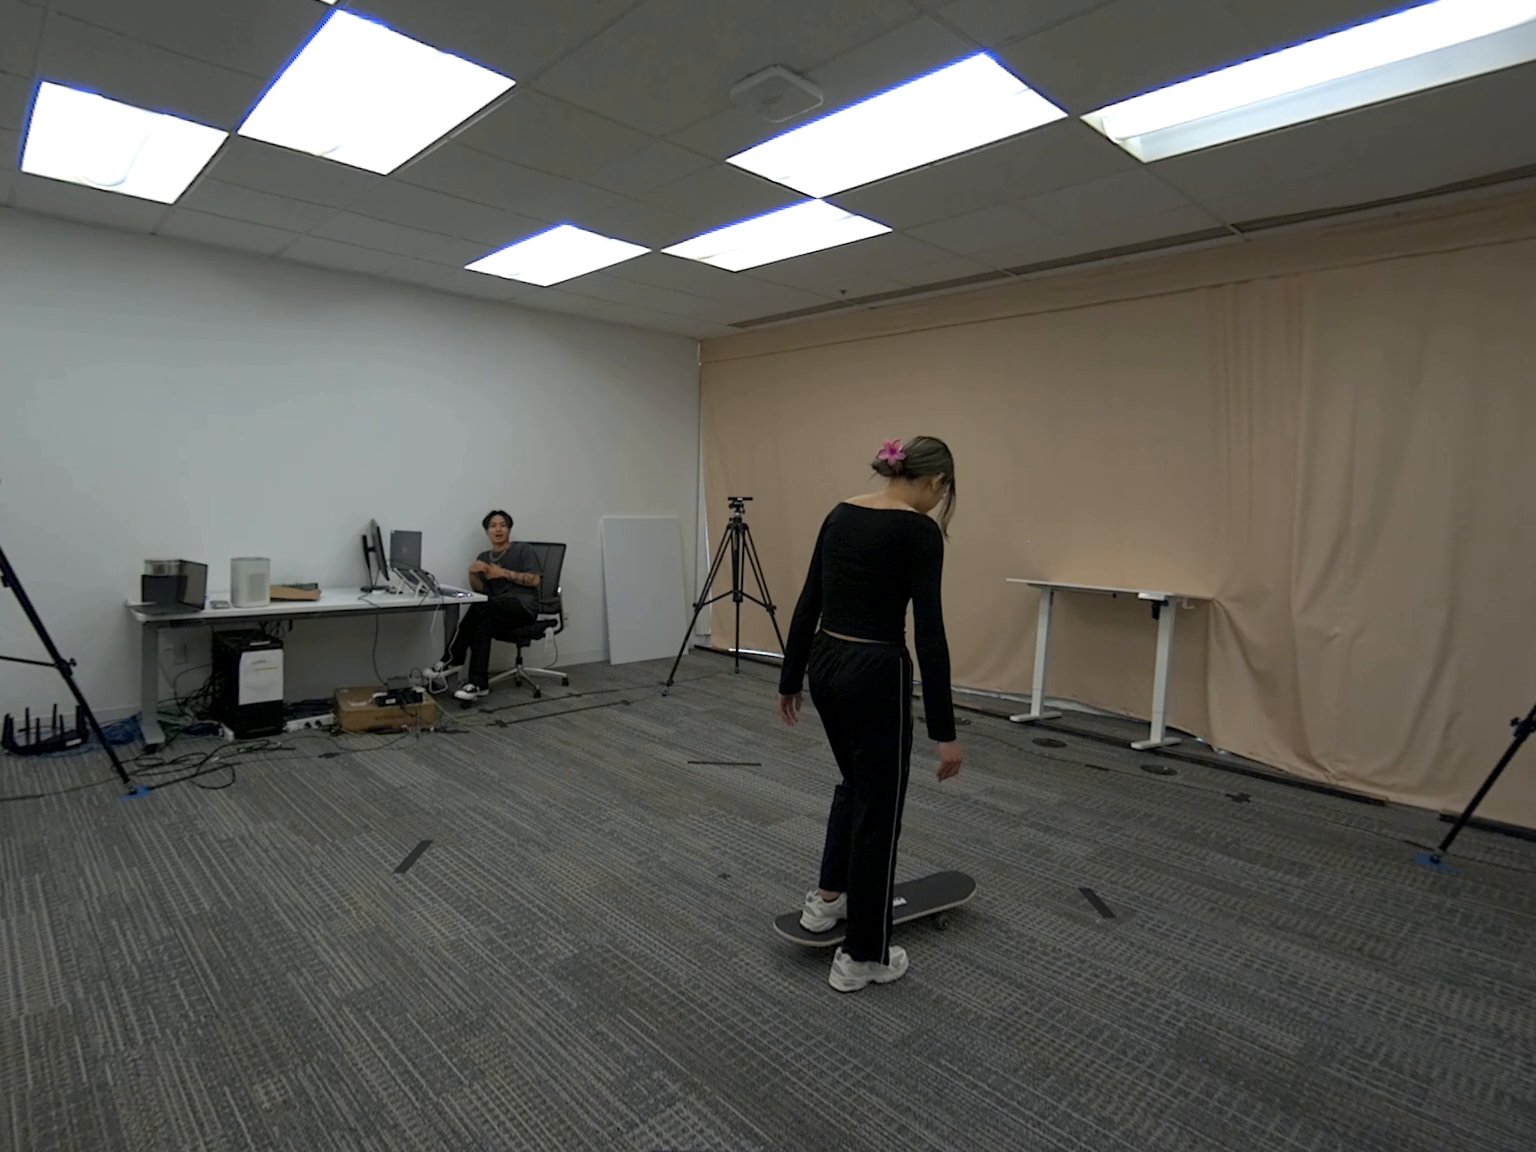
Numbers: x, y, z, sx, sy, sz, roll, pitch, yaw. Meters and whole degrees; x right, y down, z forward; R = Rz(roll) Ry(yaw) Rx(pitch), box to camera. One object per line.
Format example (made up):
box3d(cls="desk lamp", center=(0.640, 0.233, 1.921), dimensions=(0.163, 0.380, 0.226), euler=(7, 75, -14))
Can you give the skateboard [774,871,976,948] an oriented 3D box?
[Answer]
box3d(cls="skateboard", center=(0.360, 1.101, 2.715), dimensions=(0.769, 0.110, 0.198), euler=(-2, 7, -31))
